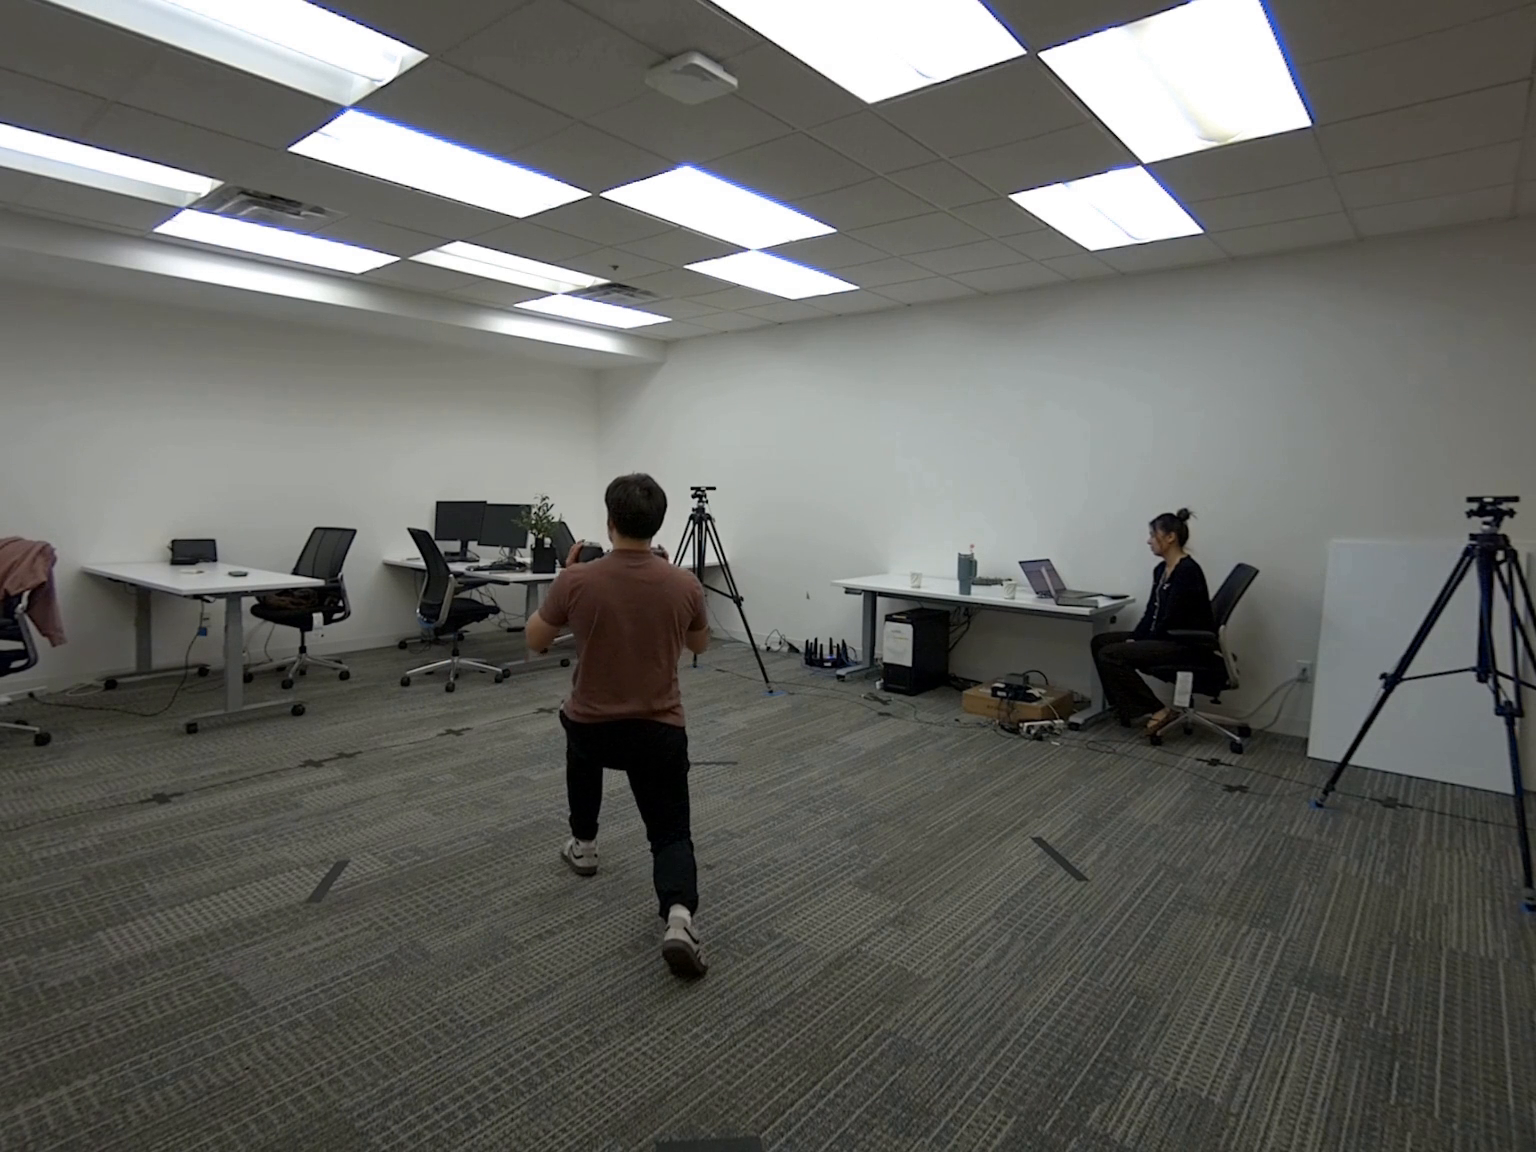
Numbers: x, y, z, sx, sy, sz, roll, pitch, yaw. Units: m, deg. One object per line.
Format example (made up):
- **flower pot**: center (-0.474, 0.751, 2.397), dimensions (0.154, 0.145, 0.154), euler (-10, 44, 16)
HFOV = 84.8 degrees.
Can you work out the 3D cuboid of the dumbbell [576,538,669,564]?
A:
- **dumbbell**: center (-0.505, -0.045, 2.883), dimensions (0.288, 0.107, 0.126), euler (6, 16, -16)
